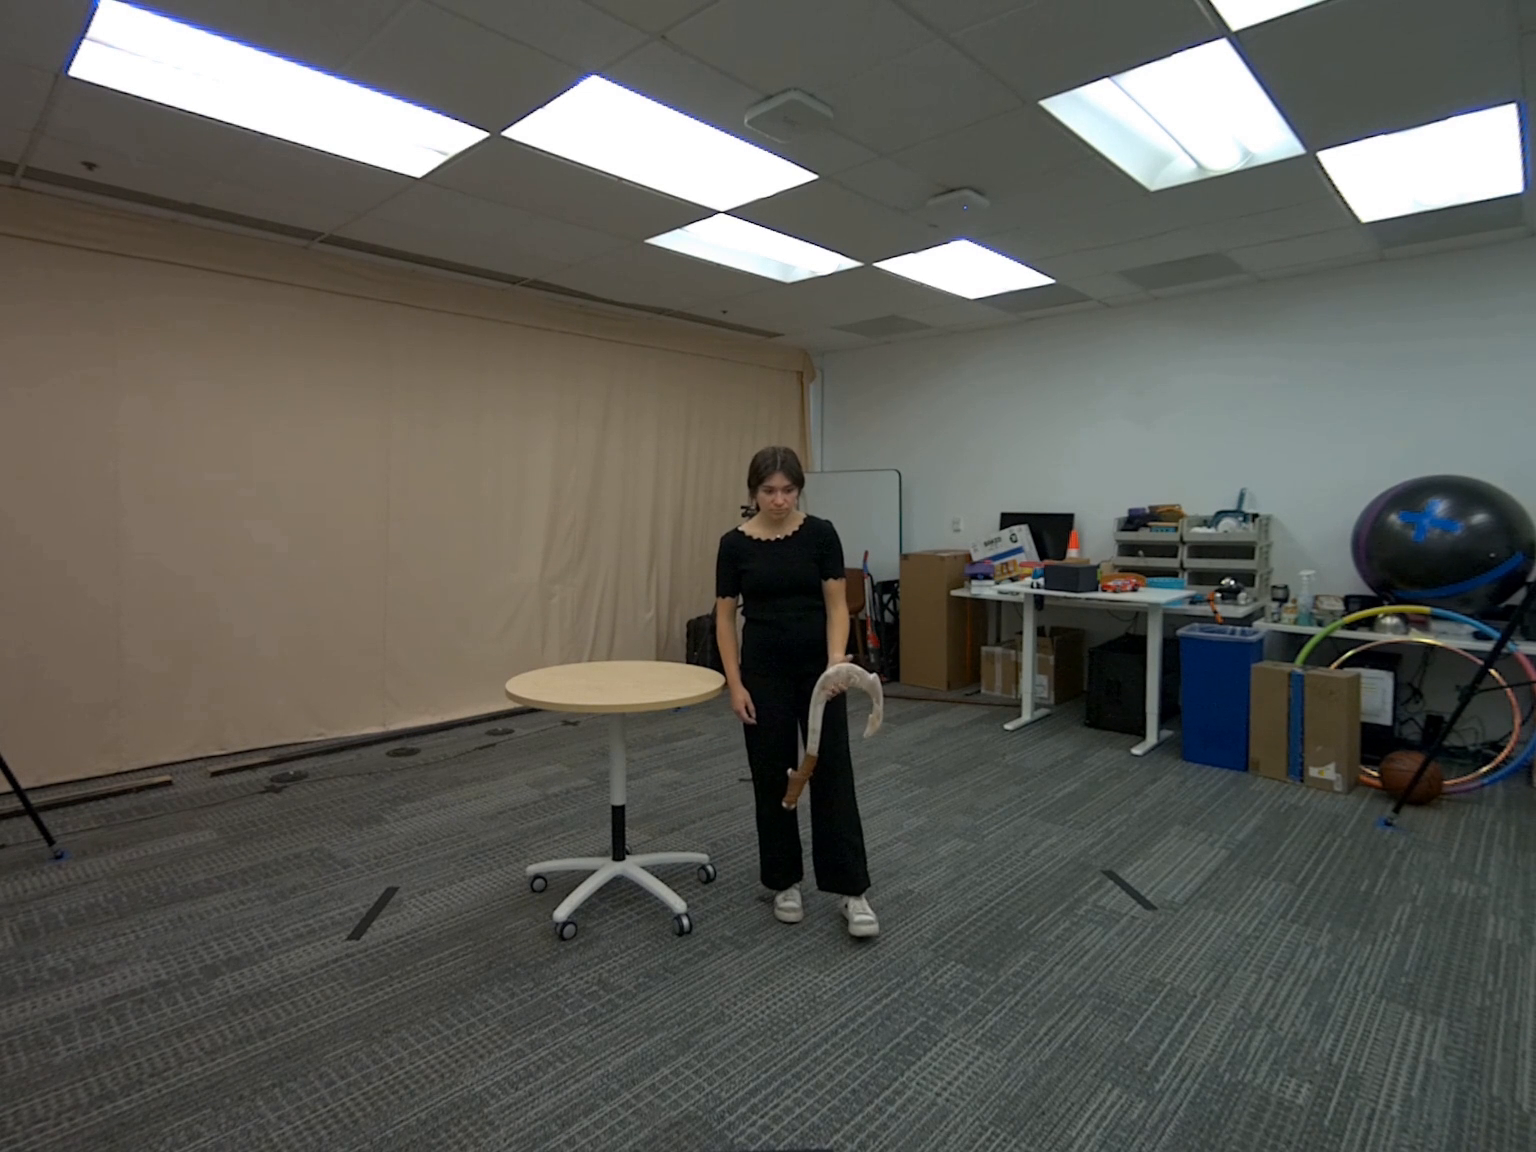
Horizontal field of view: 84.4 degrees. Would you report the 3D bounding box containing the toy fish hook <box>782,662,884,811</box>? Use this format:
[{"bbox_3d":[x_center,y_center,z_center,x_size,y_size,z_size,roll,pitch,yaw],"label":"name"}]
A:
[{"bbox_3d":[0.200,0.517,2.615,0.228,0.505,0.048,21,8,11],"label":"toy fish hook"}]
